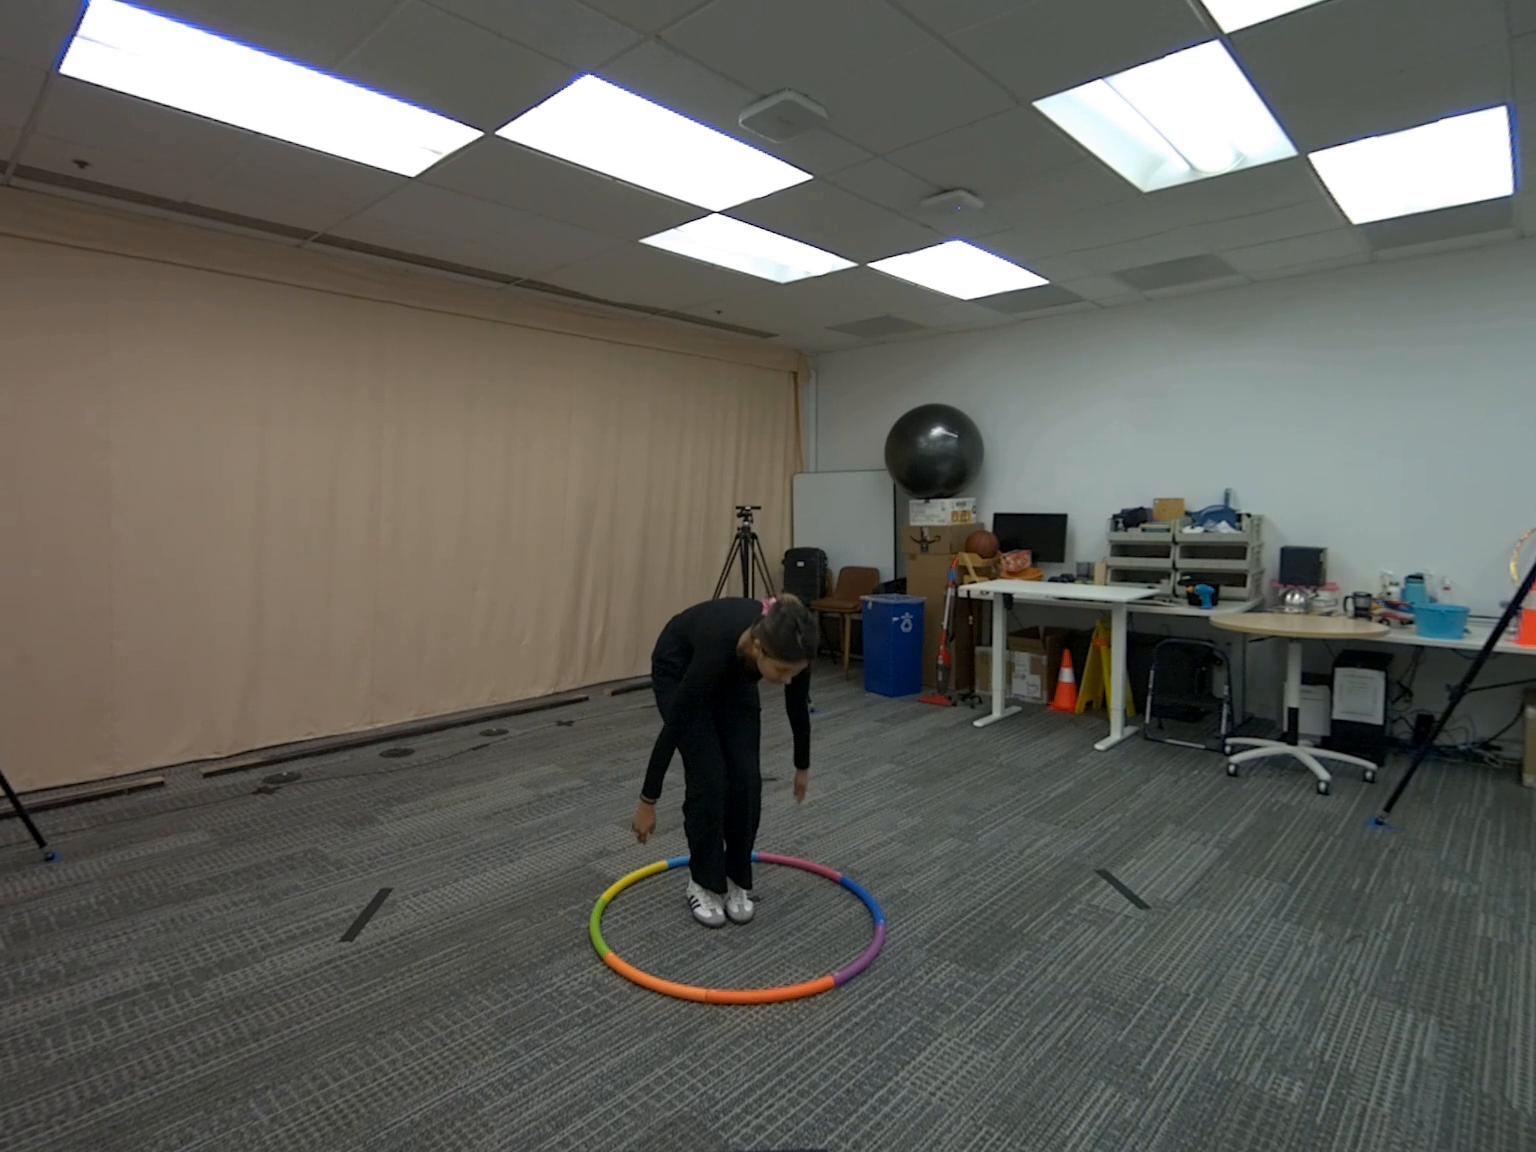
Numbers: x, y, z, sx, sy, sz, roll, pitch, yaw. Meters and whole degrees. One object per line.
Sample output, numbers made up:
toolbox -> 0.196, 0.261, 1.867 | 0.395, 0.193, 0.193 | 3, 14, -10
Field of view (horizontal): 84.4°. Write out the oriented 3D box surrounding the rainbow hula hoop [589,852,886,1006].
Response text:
rainbow hula hoop -> -0.100, 1.129, 2.833 | 0.978, 0.035, 0.982 | 0, 5, -2
